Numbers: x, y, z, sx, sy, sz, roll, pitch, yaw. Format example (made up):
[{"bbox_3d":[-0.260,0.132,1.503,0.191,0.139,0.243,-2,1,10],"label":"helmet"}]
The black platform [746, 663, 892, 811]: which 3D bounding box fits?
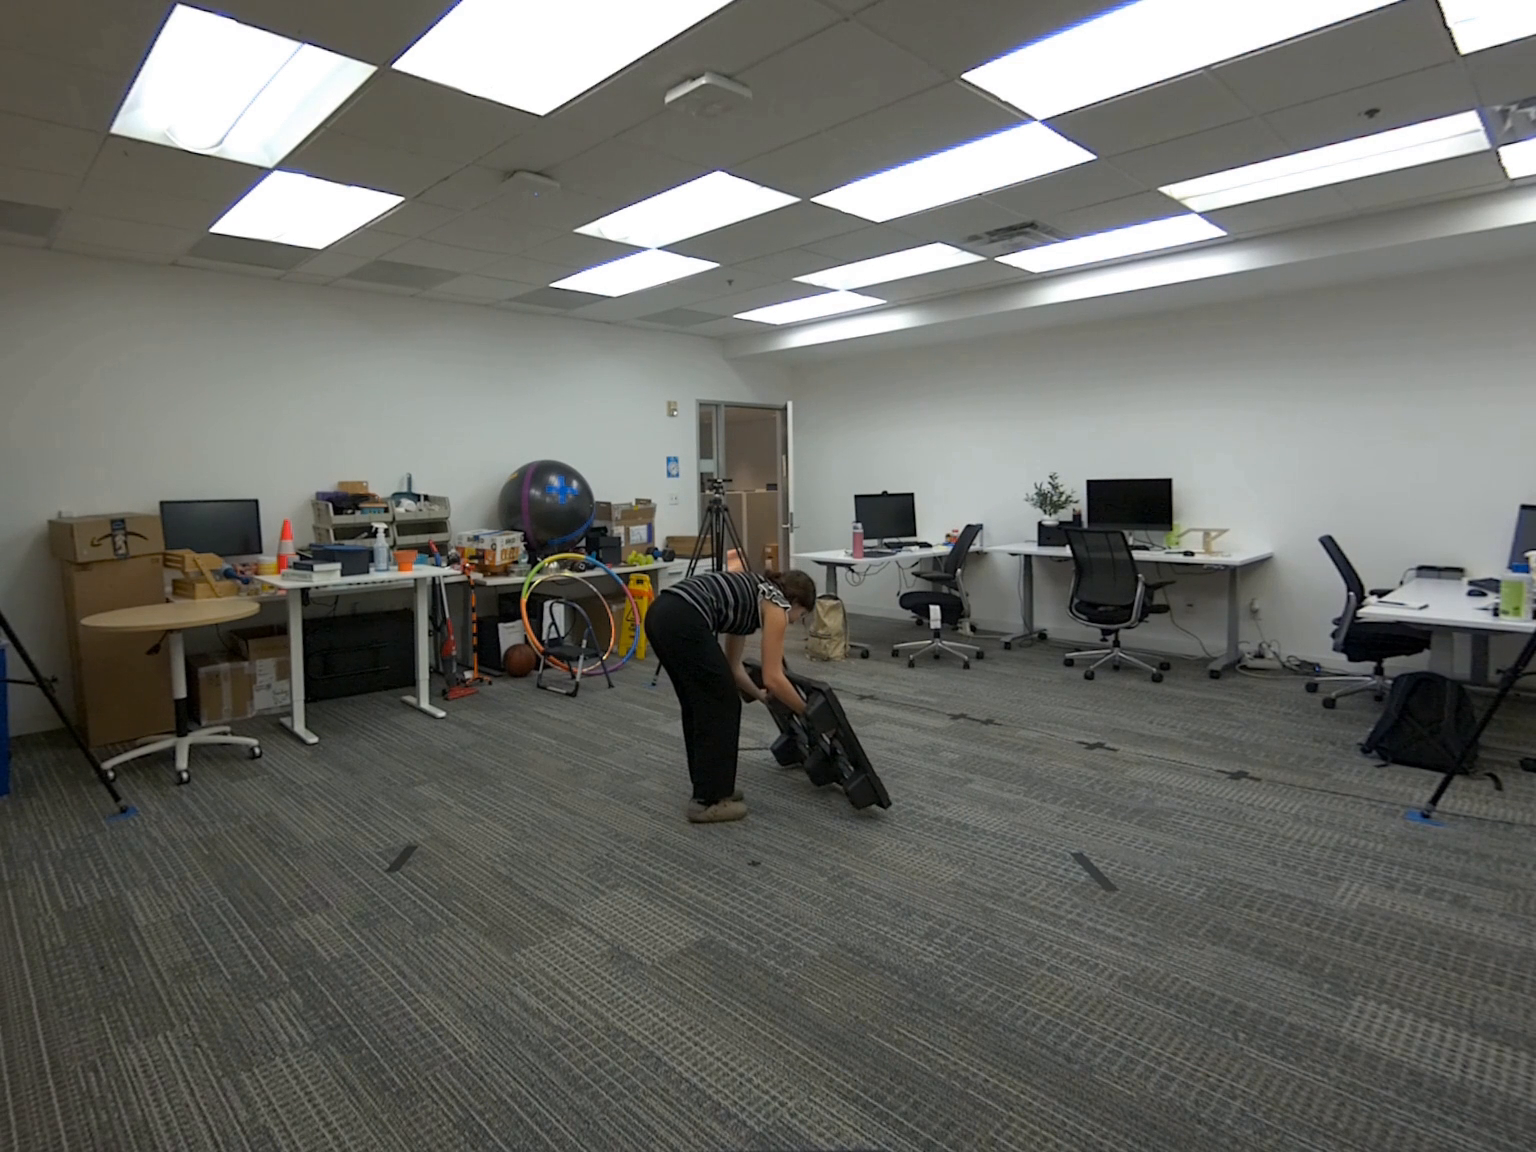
[{"bbox_3d":[0.156,0.698,3.779,0.142,0.596,0.823,-32,14,-19],"label":"black platform"}]
